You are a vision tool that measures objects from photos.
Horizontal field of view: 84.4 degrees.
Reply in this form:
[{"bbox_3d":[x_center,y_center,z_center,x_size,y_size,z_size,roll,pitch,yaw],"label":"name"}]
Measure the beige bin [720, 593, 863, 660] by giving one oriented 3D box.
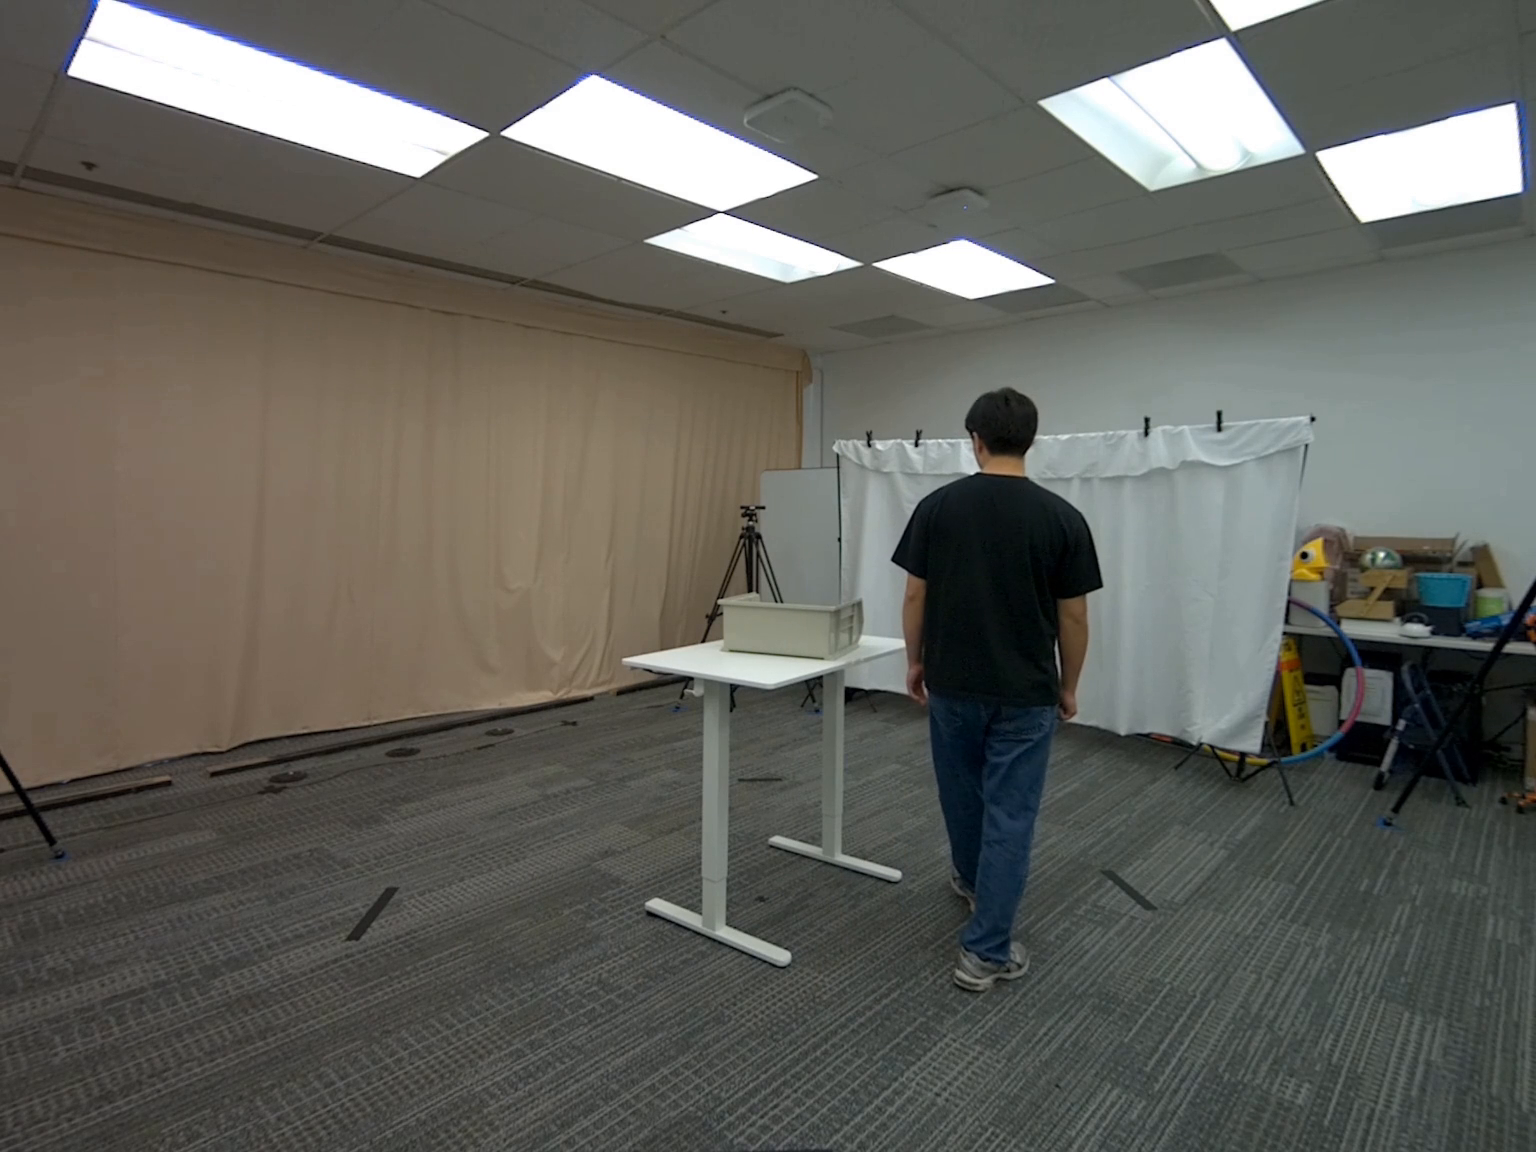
[{"bbox_3d":[0.096,0.171,3.000,0.433,0.188,0.369,3,6,24],"label":"beige bin"}]
